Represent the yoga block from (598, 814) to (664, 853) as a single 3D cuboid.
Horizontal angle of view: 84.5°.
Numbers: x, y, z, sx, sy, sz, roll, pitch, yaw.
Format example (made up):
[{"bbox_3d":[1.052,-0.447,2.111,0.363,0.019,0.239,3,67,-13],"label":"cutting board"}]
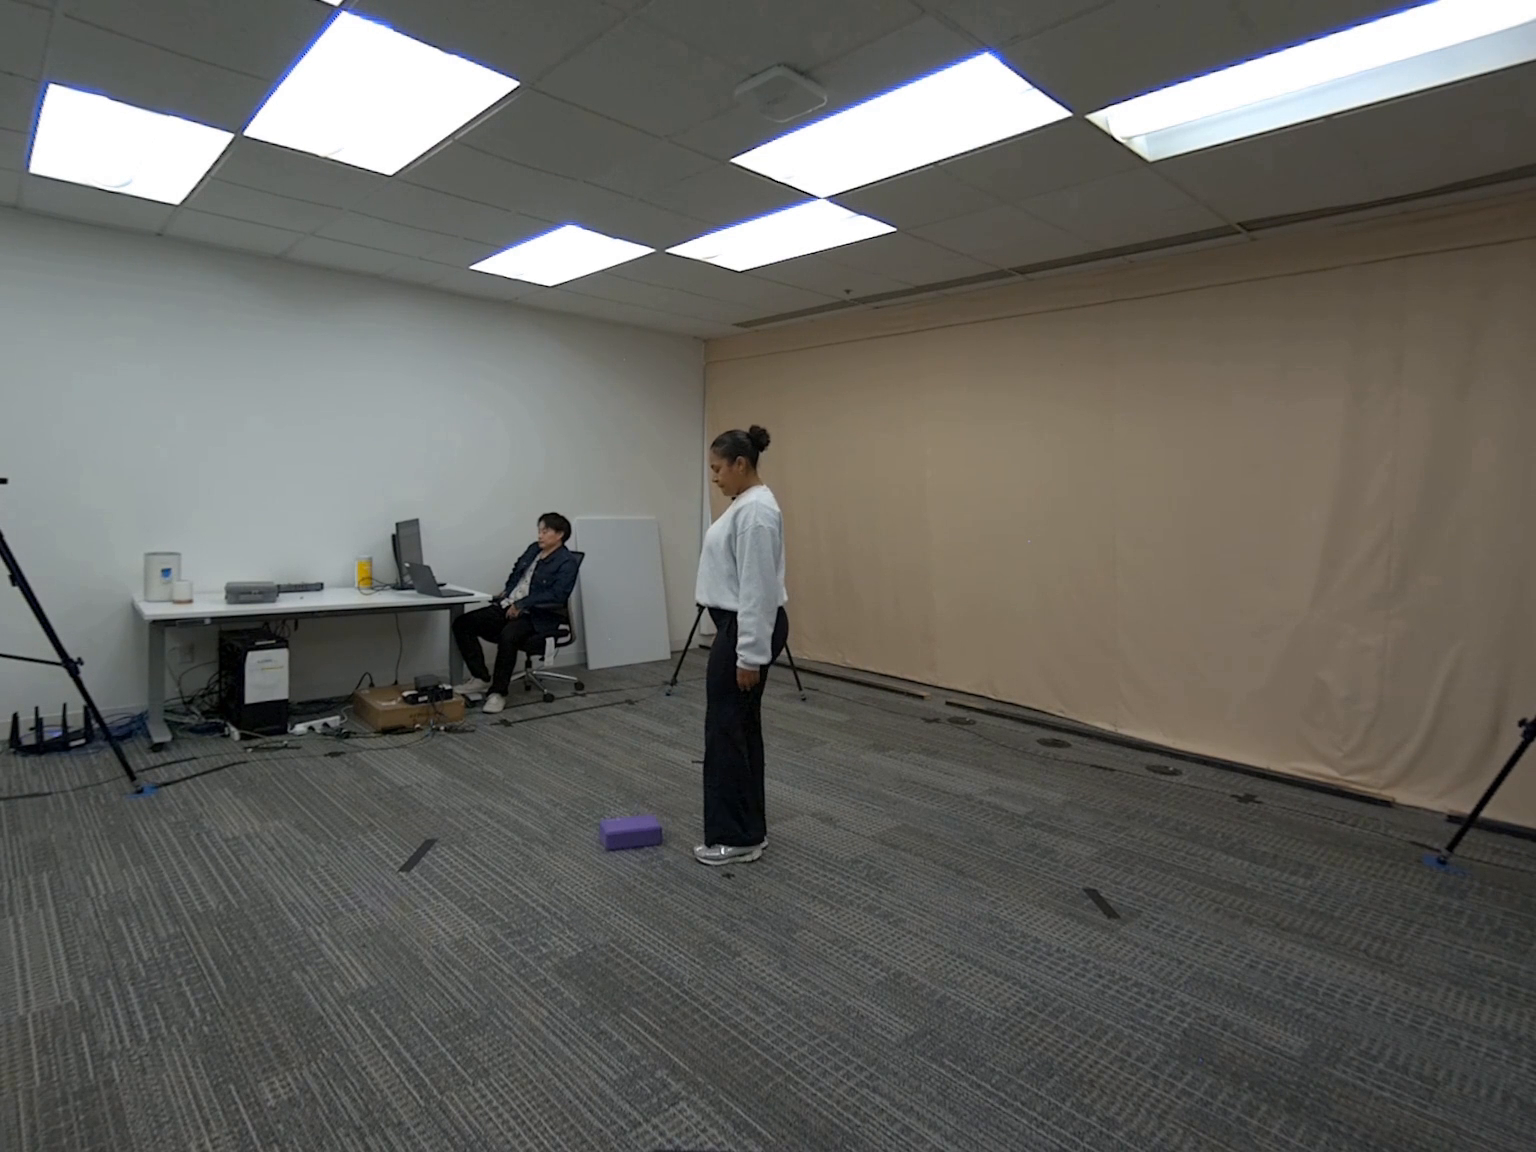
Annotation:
[{"bbox_3d":[-0.557,1.024,3.391,0.226,0.076,0.152,-1,6,-22],"label":"yoga block"}]
